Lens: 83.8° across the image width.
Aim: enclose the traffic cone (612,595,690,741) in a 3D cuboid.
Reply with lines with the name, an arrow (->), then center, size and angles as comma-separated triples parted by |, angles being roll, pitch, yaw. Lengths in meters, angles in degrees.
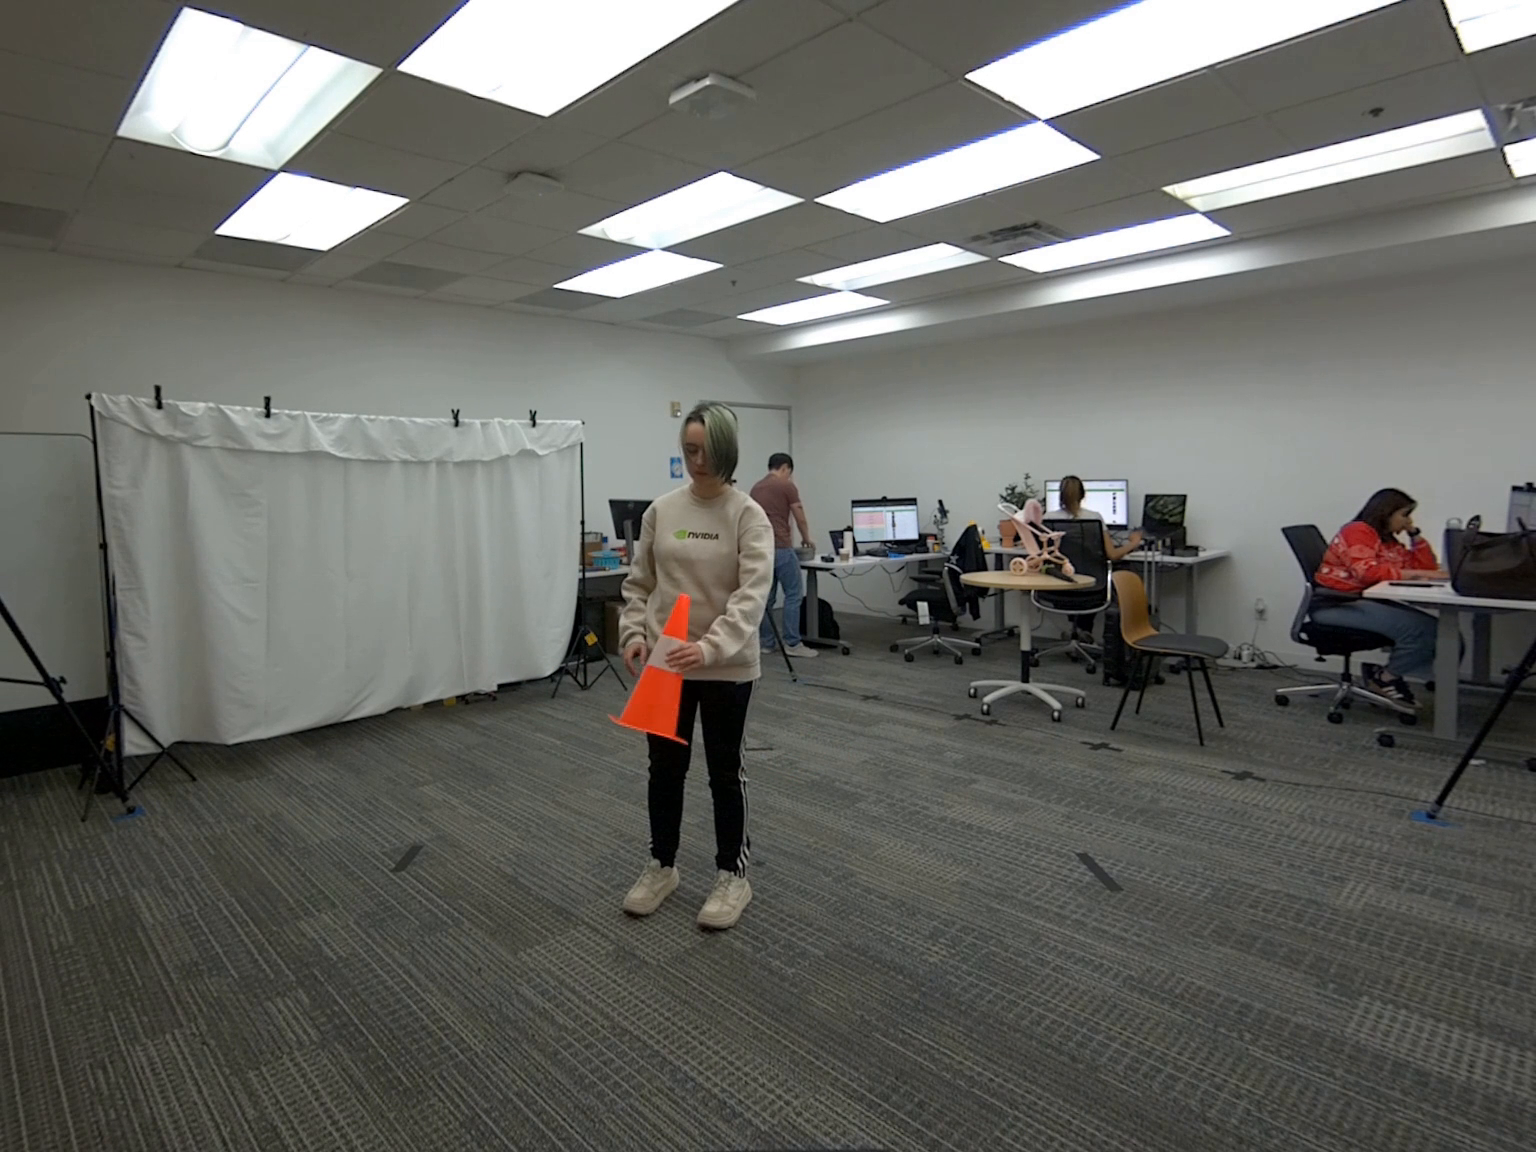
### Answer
traffic cone -> -0.280, 0.242, 2.356 | 0.199, 0.386, 0.208 | 20, -10, -28
